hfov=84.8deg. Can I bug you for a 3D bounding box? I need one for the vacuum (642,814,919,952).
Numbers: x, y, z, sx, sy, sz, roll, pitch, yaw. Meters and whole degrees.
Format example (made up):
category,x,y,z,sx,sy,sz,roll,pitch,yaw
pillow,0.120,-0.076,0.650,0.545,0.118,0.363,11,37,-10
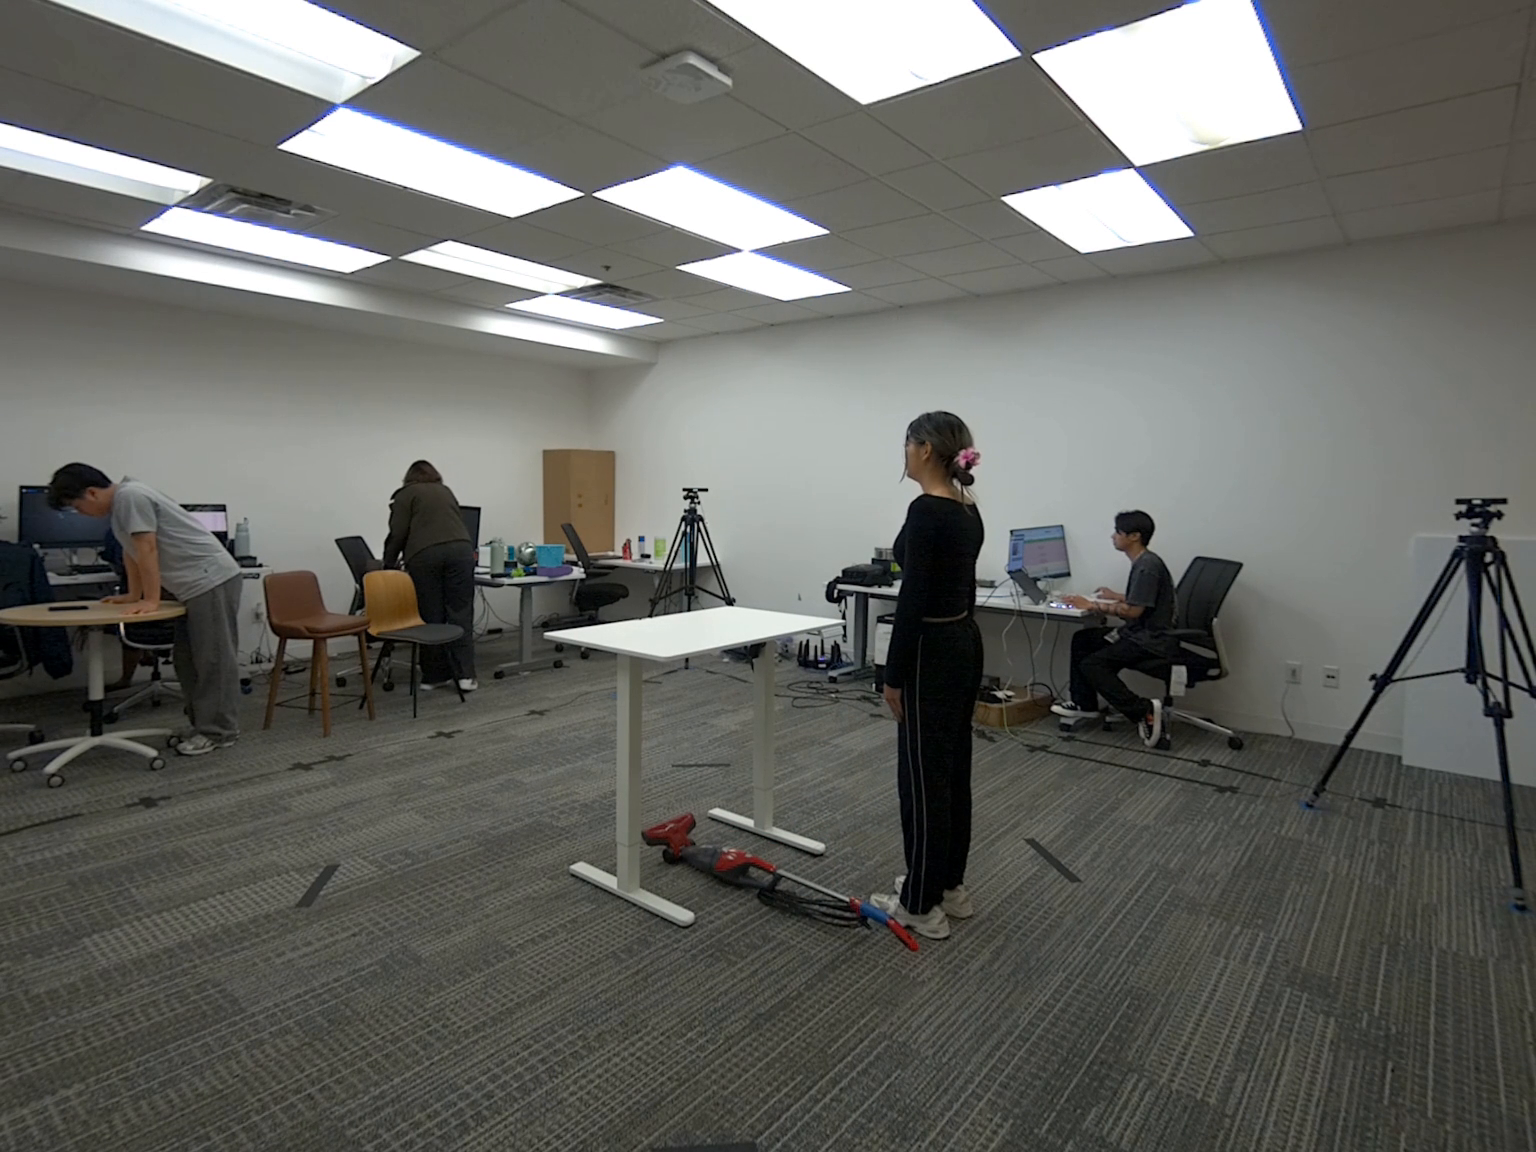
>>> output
category,x,y,z,sx,sy,sz,roll,pitch,yaw
vacuum,0.029,1.047,2.857,1.086,0.143,0.245,7,8,42
